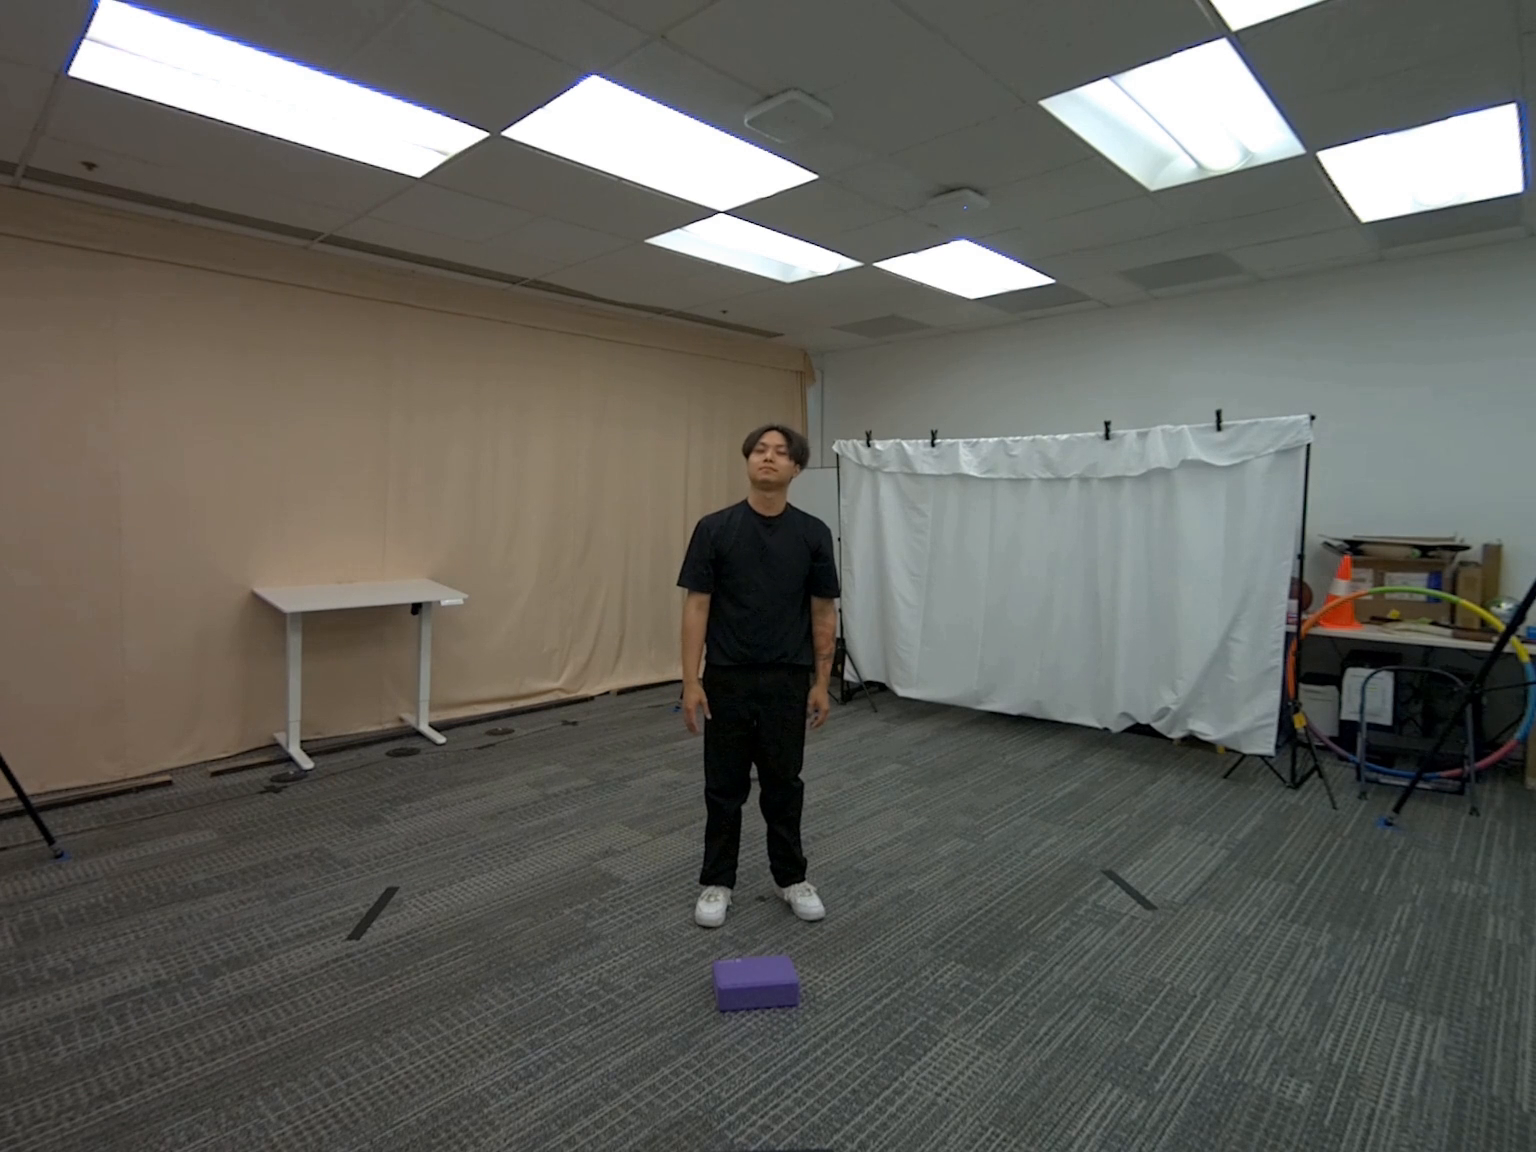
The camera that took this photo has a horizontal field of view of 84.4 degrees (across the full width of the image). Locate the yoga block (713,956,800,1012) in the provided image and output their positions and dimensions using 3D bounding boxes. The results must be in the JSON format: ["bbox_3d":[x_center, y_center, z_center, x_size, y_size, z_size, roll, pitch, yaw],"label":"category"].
[{"bbox_3d":[-0.035,1.151,2.394,0.228,0.076,0.150,2,3,-7],"label":"yoga block"}]
